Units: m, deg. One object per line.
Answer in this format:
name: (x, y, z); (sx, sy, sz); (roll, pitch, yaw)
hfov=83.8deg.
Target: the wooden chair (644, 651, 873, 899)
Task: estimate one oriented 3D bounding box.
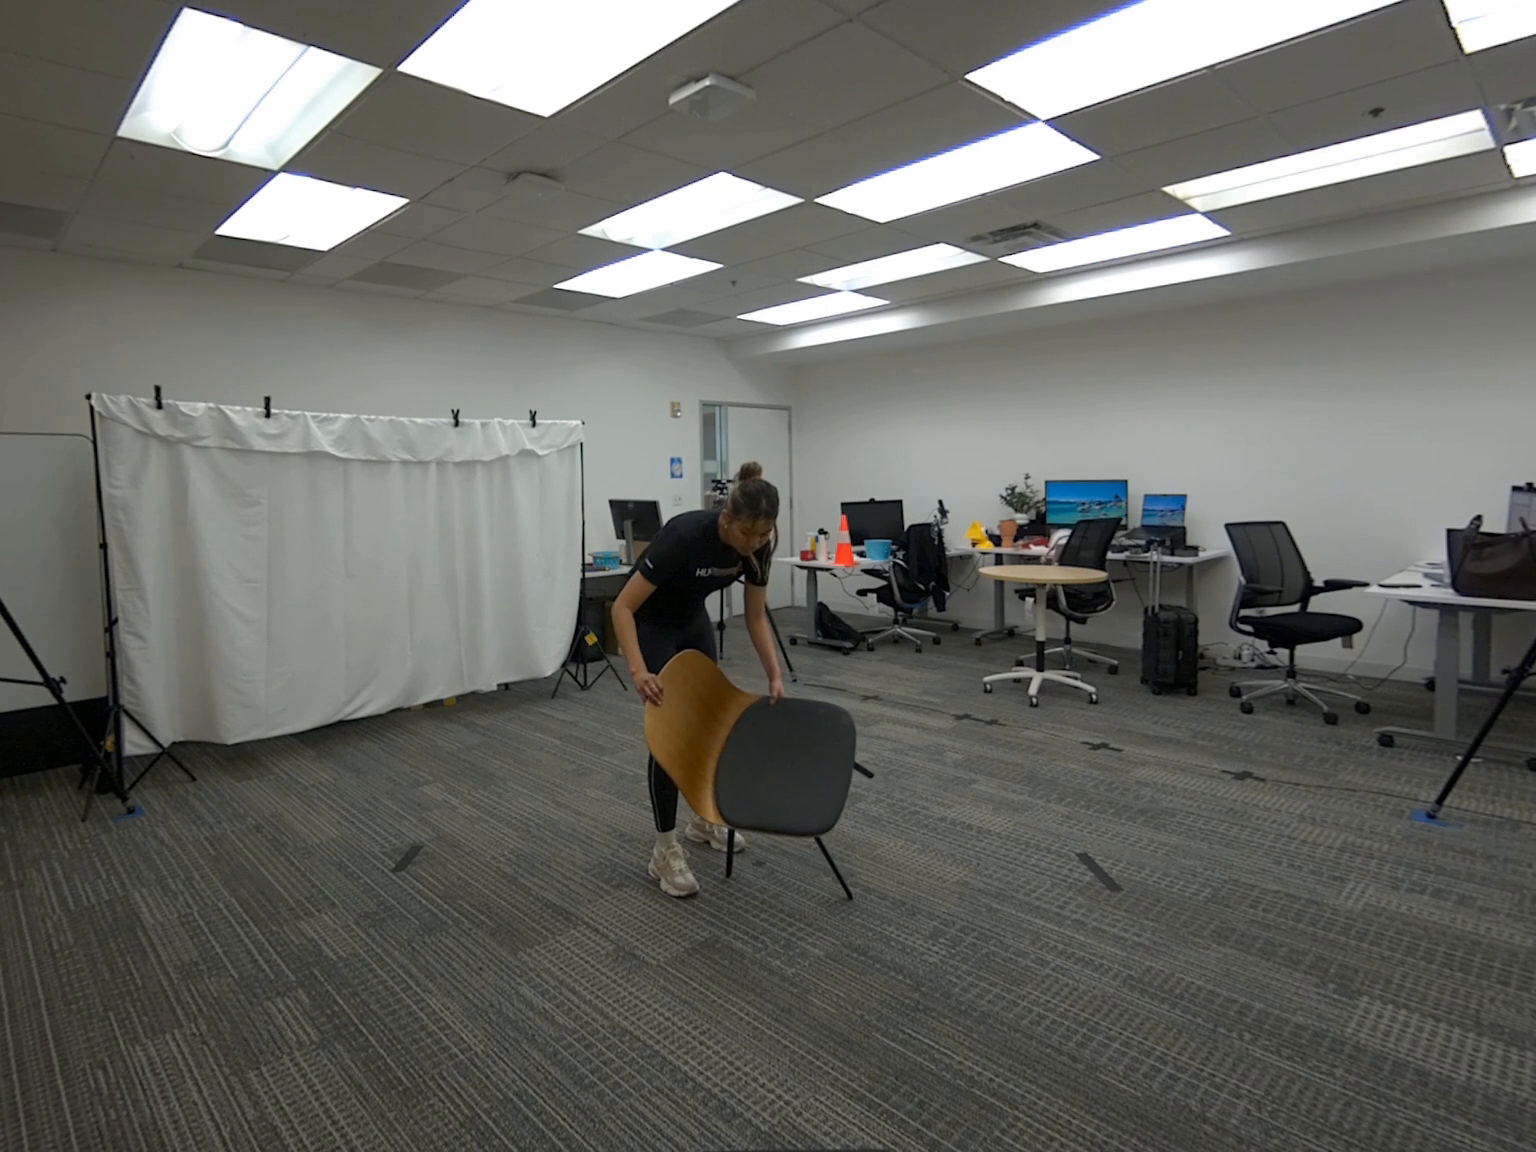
wooden chair: (0.030, 0.625, 2.763); (0.534, 0.486, 0.845); (-3, -43, 25)
